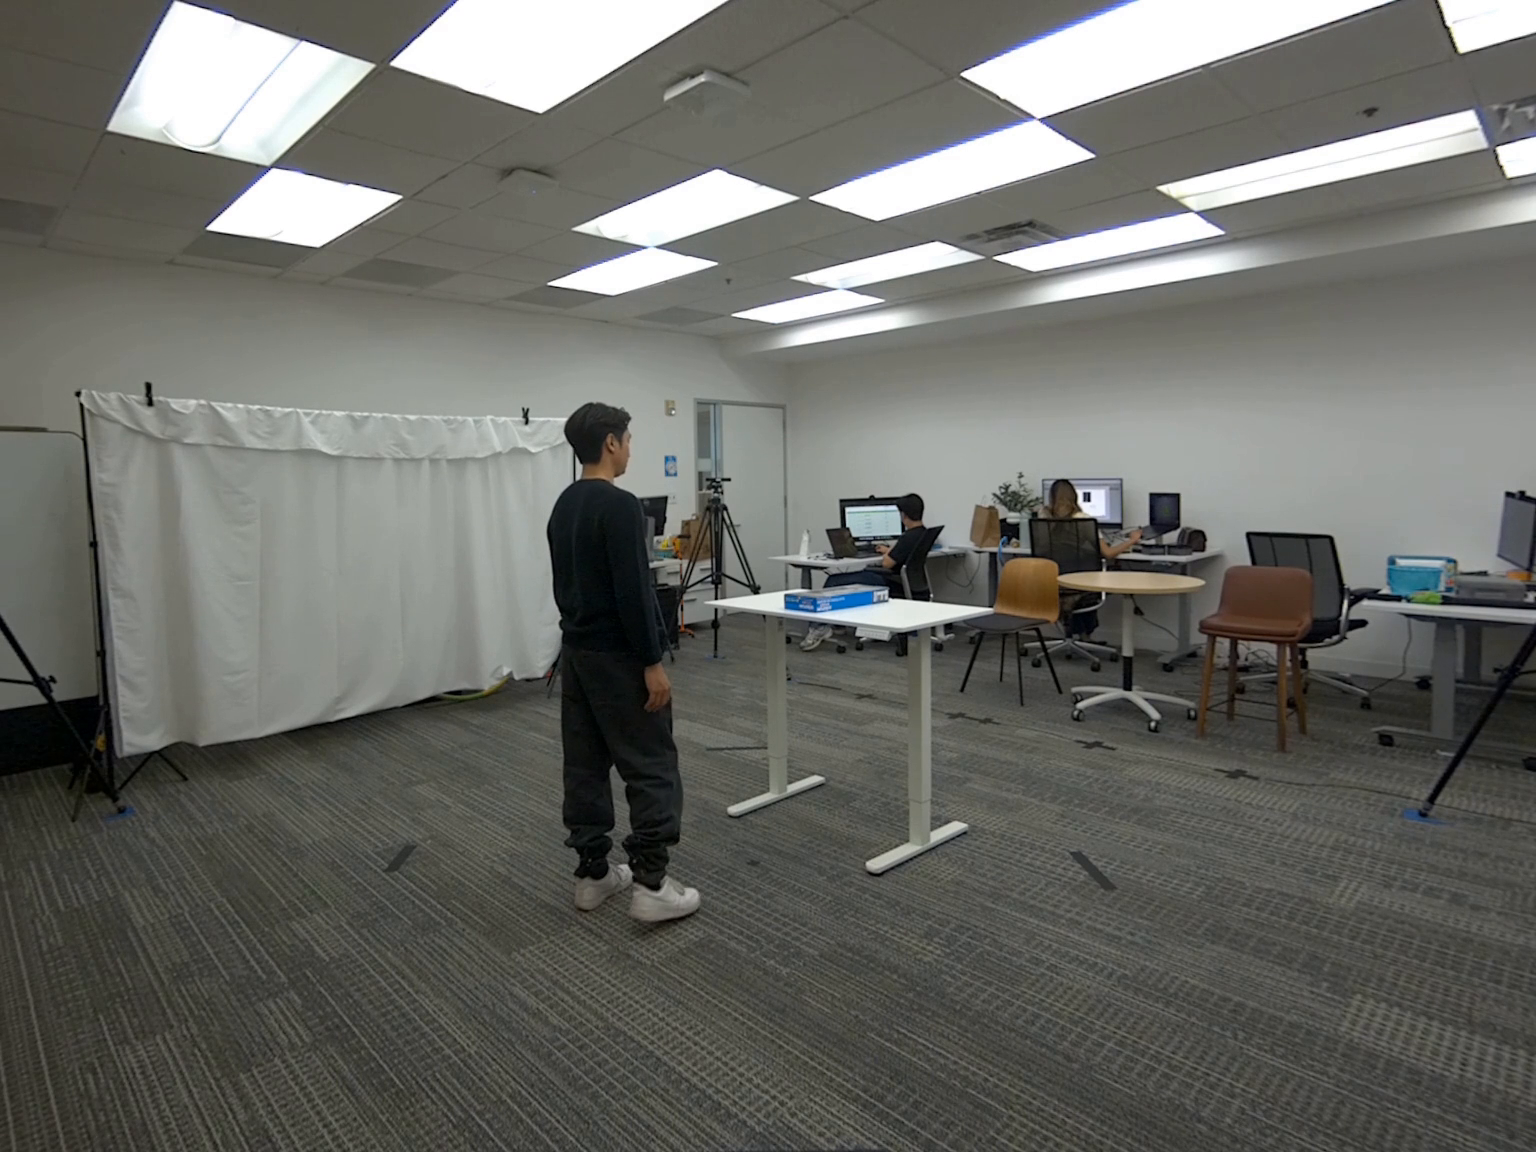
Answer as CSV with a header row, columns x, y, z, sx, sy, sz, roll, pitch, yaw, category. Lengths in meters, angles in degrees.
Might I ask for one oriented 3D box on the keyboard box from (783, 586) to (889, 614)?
x,y,z,sx,sy,sz,roll,pitch,yaw,category
0.284,0.088,3.422,0.425,0.059,0.181,-6,8,-42,keyboard box
